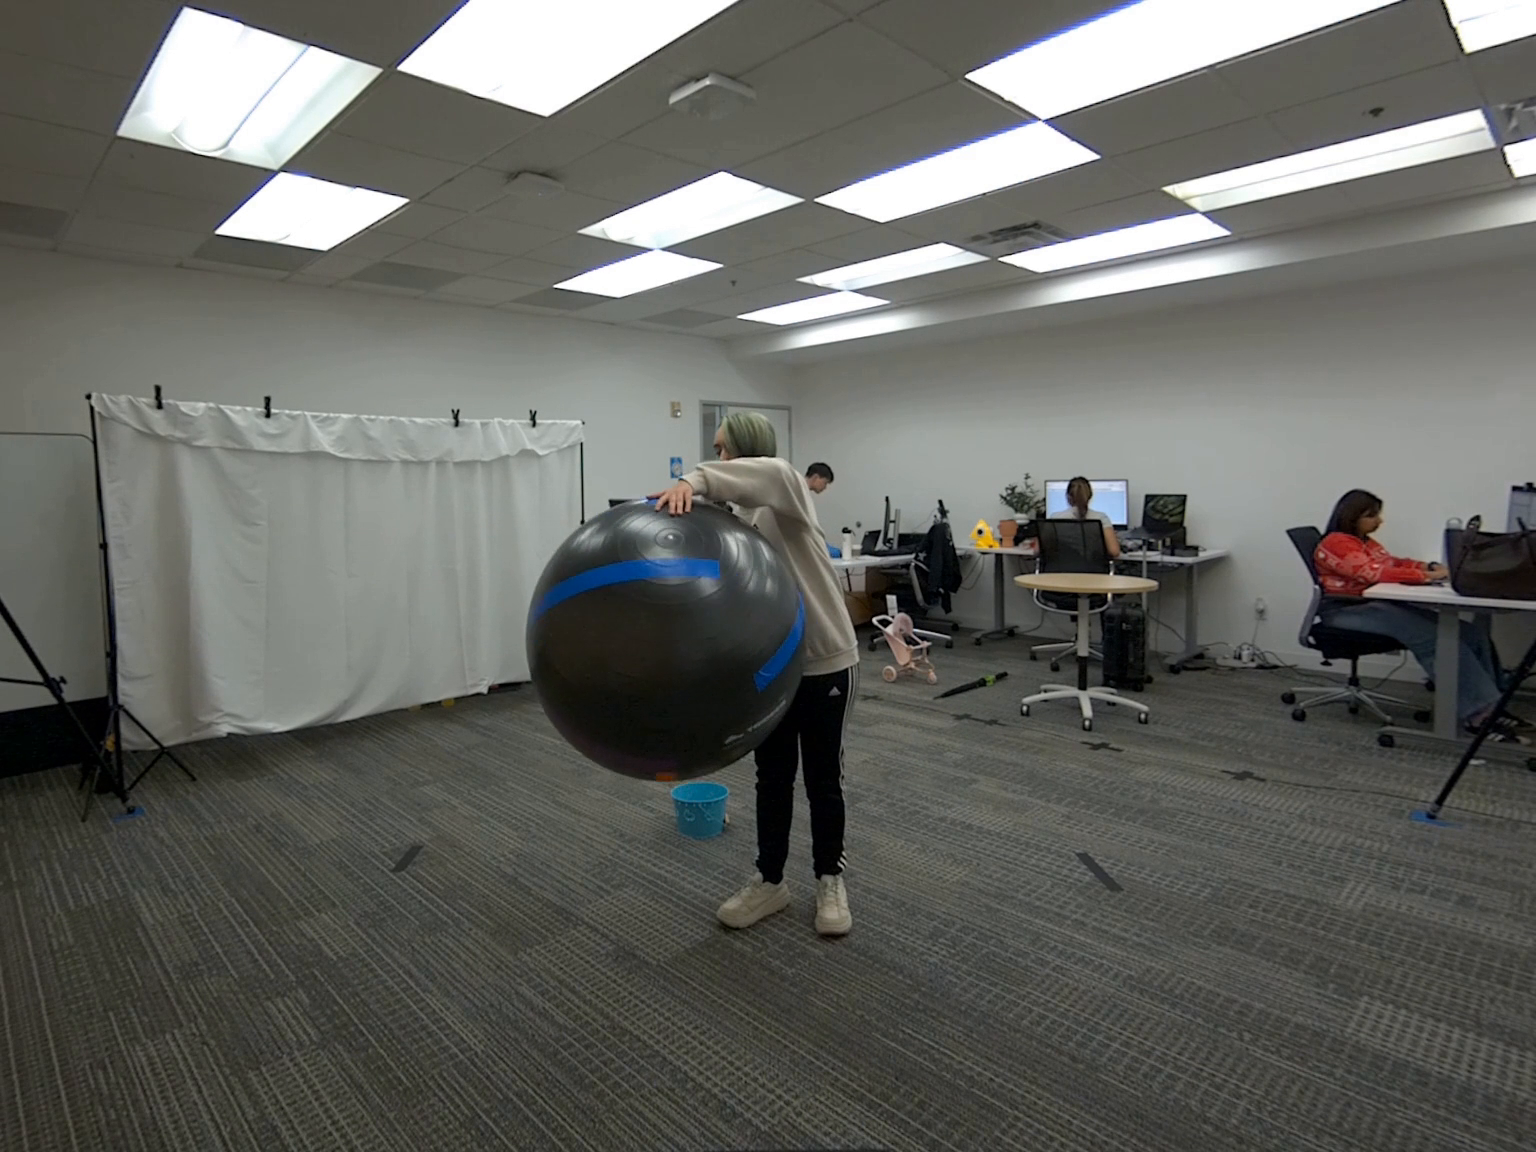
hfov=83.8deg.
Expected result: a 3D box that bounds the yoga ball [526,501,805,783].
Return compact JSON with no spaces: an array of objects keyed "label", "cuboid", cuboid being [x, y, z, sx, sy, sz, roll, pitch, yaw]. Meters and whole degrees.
[{"label":"yoga ball","cuboid":[-0.274,0.165,2.313,0.757,0.755,0.762,-1,5,-2]}]
